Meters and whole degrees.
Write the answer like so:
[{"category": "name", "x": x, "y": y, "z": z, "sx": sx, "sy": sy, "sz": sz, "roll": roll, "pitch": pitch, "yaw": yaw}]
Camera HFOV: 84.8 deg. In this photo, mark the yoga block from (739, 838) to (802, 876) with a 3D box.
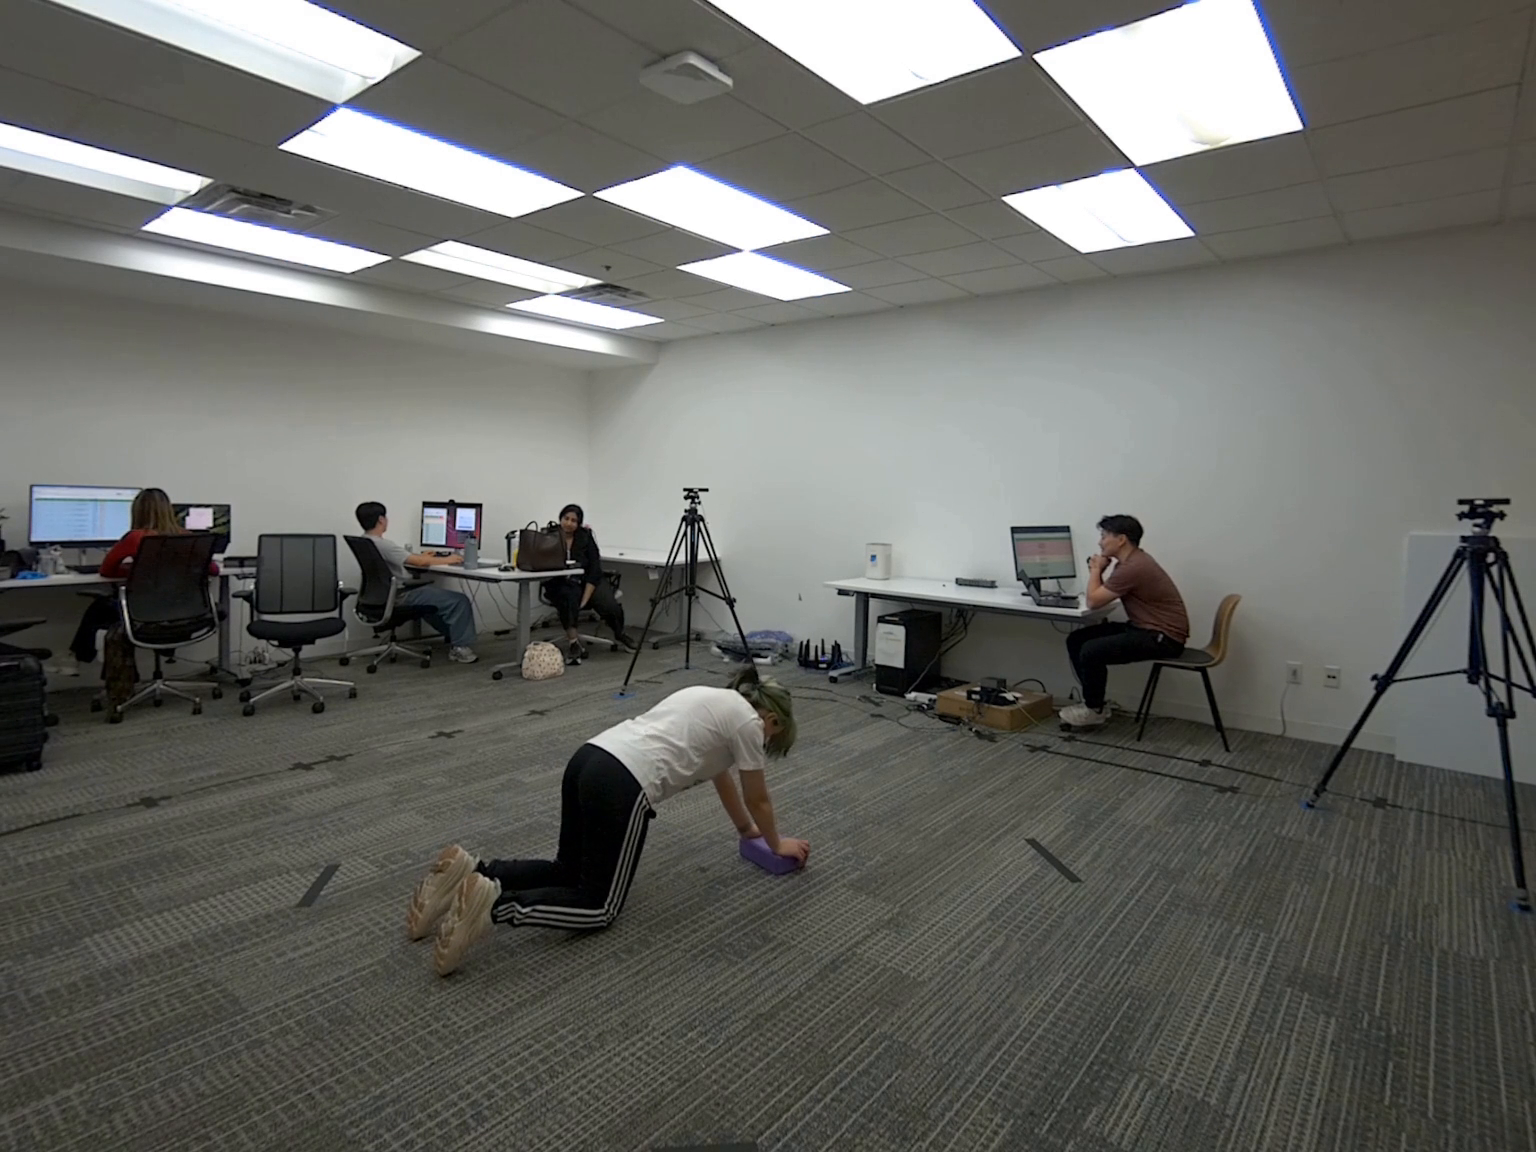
[{"category": "yoga block", "x": 0.006, "y": 1.027, "z": 3.195, "sx": 0.144, "sy": 0.076, "sz": 0.237, "roll": -2, "pitch": 6, "yaw": -39}]
